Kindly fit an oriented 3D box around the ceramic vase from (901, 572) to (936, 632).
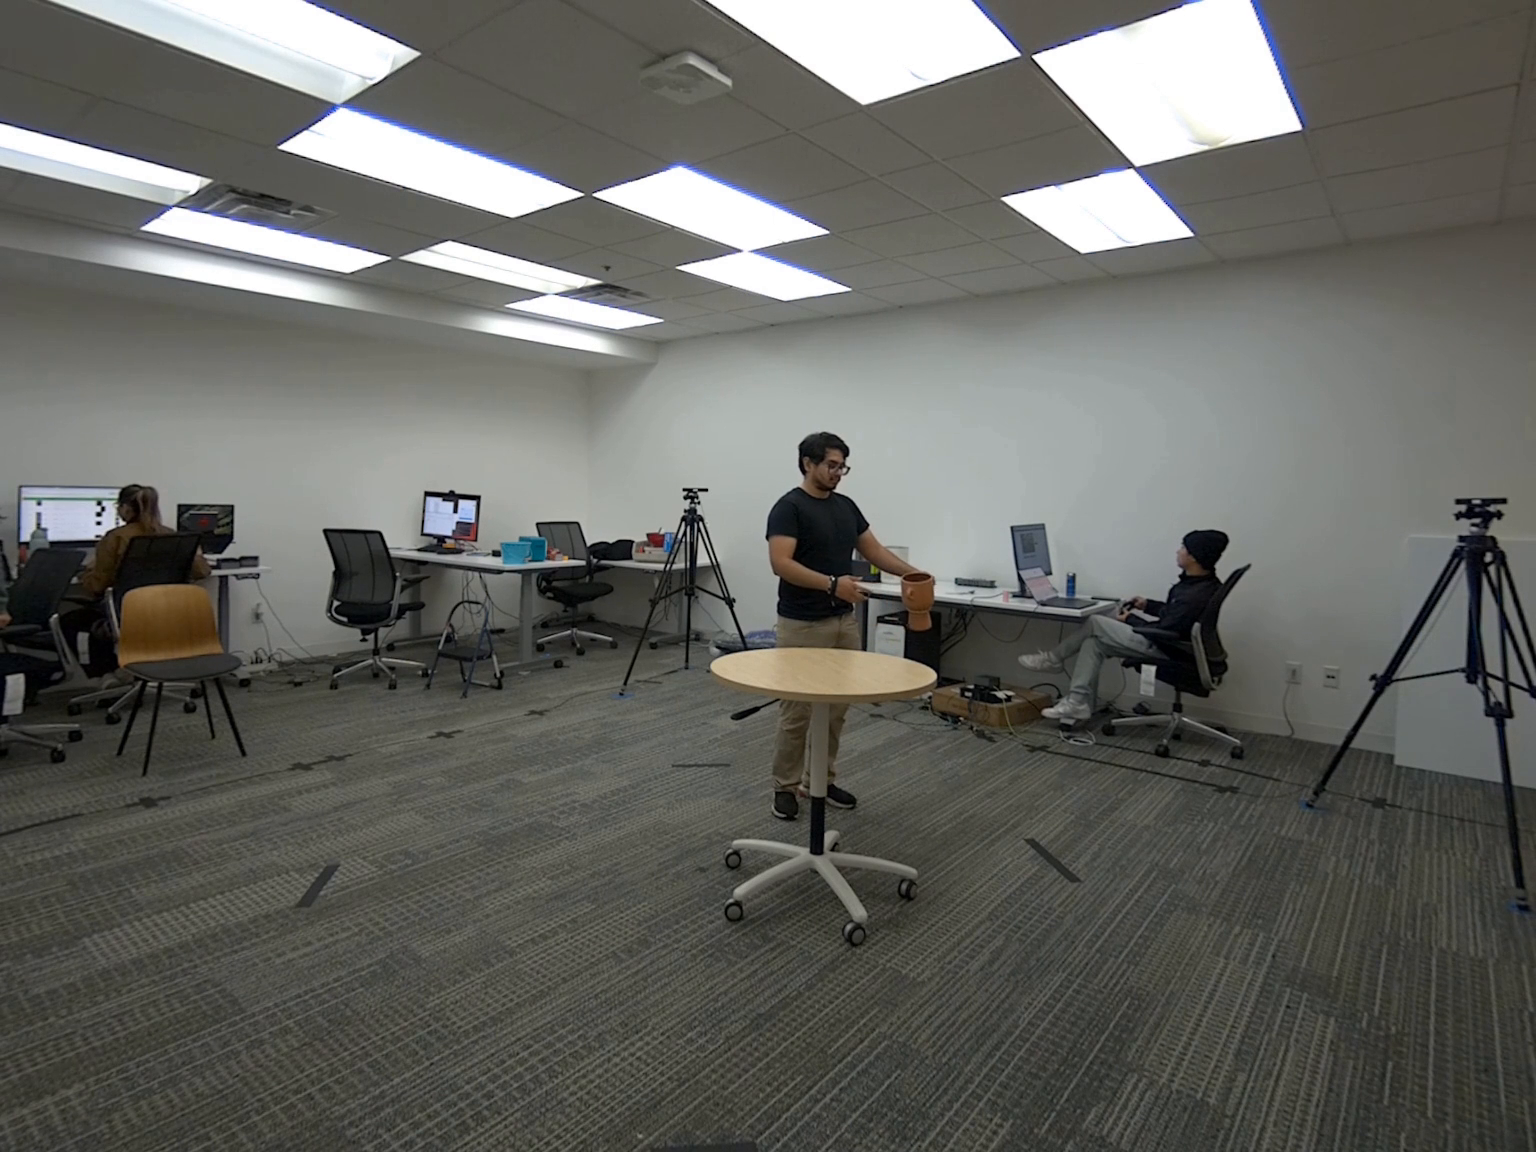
[{"bbox_3d":[0.622,0.107,3.580,0.157,0.216,0.138,-9,16,-14],"label":"ceramic vase"}]
